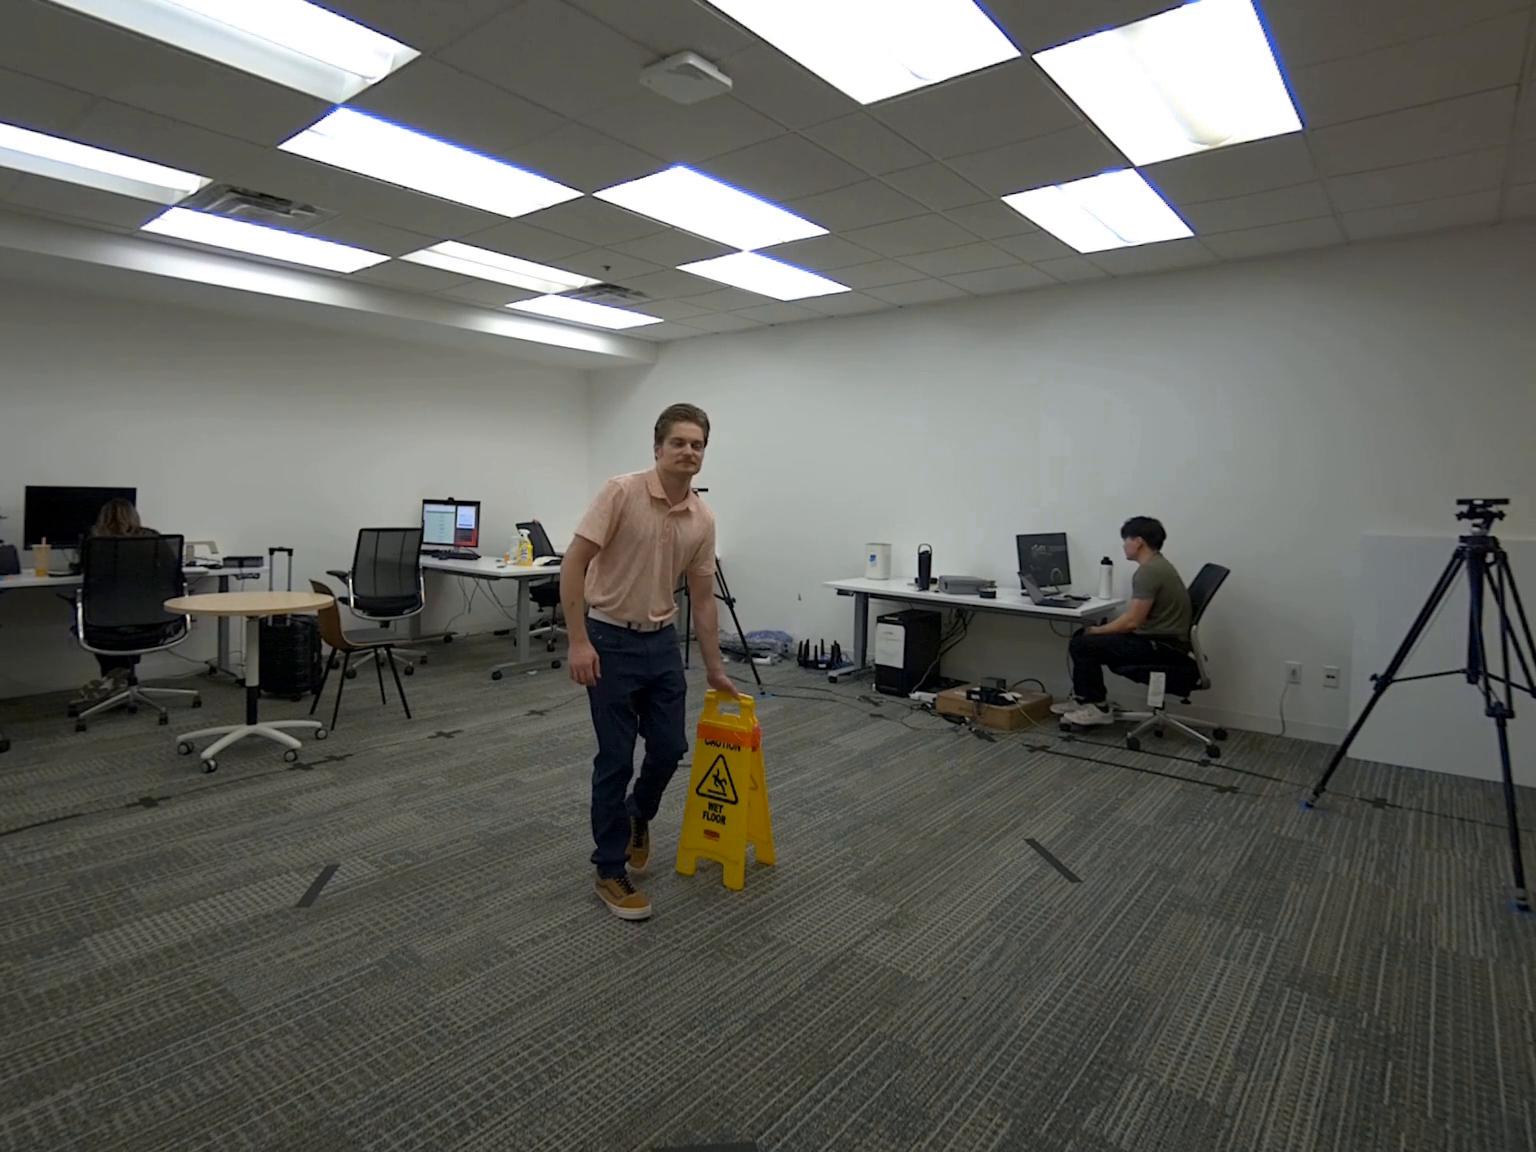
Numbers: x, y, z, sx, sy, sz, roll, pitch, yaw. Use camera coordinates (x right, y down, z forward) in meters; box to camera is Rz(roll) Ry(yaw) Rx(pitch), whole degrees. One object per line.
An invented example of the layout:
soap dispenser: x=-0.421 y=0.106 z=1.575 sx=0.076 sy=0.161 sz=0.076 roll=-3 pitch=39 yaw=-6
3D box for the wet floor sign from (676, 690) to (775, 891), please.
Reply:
wet floor sign: x=-0.161 y=0.746 z=3.099 sx=0.291 sy=0.644 sz=0.282 roll=2 pitch=3 yaw=31
